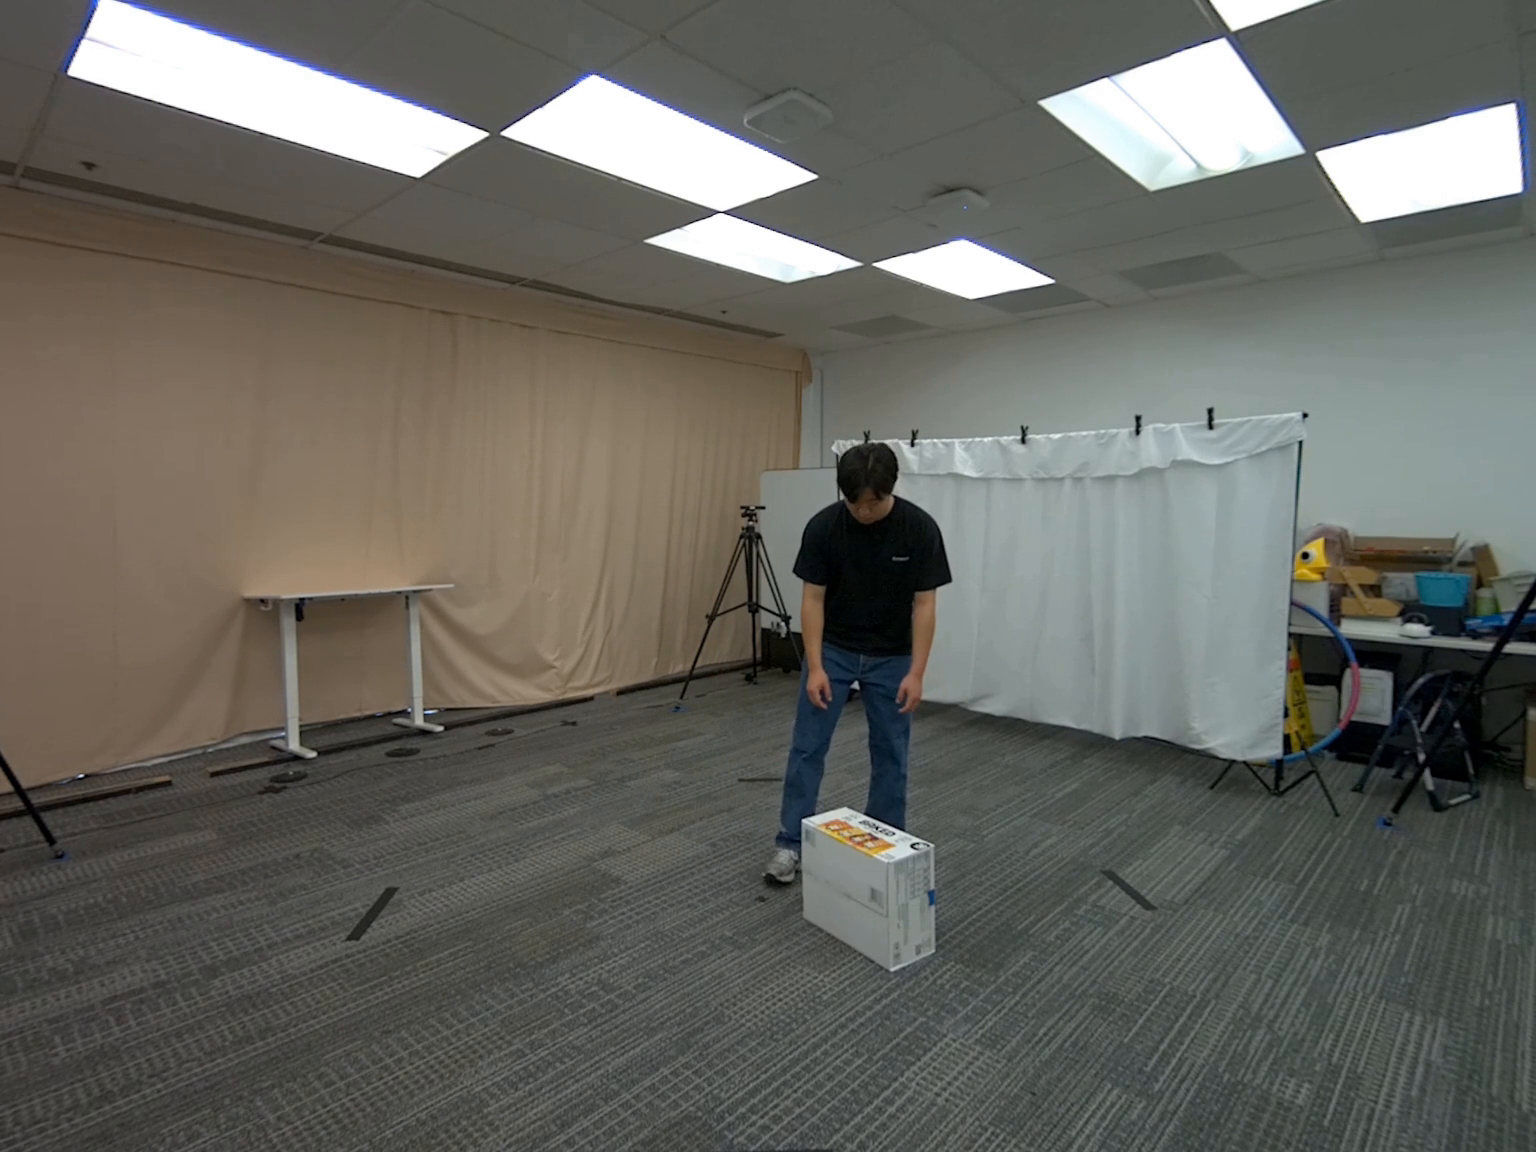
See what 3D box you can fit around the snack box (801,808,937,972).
[{"bbox_3d":[0.321,0.997,2.719,0.200,0.339,0.418,-4,5,-35],"label":"snack box"}]
